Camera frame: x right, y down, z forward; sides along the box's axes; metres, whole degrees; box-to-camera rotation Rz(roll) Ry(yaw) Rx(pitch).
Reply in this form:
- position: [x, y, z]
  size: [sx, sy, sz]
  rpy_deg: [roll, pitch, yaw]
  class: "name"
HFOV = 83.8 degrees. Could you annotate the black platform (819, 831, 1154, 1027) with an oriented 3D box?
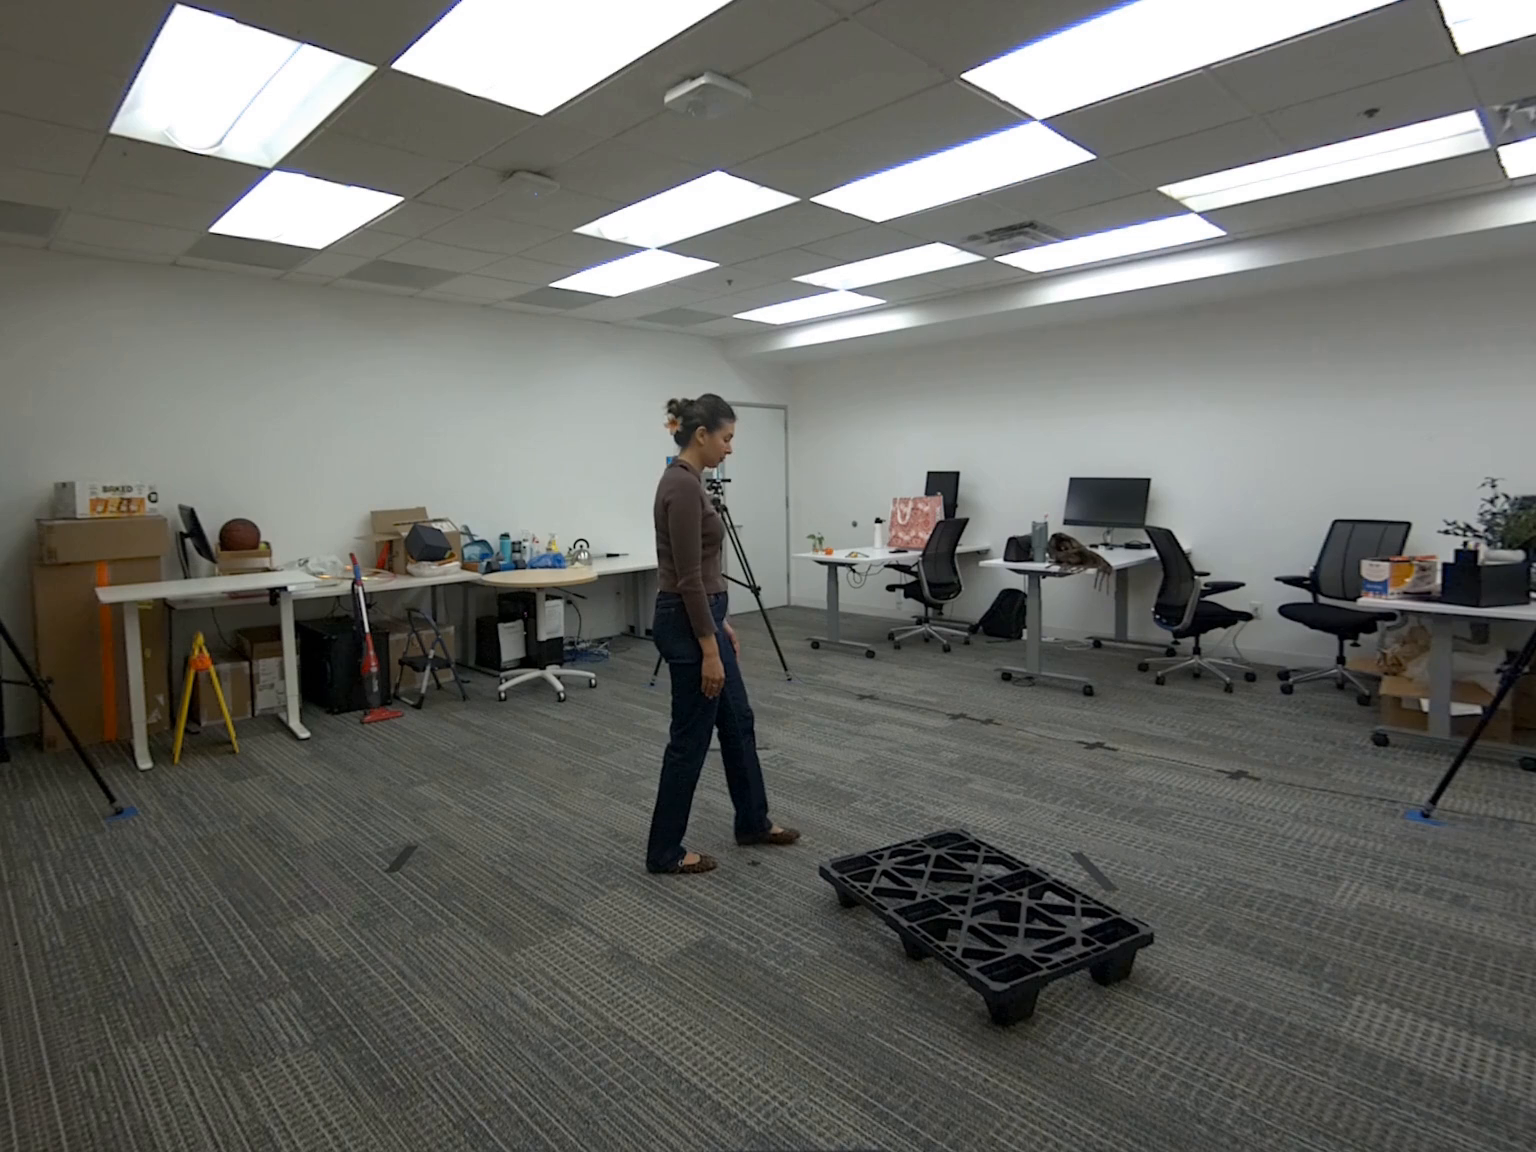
- position: [0.624, 1.026, 2.588]
  size: [0.592, 0.142, 0.828]
  rpy_deg: [-4, 7, -28]
  class: "black platform"
